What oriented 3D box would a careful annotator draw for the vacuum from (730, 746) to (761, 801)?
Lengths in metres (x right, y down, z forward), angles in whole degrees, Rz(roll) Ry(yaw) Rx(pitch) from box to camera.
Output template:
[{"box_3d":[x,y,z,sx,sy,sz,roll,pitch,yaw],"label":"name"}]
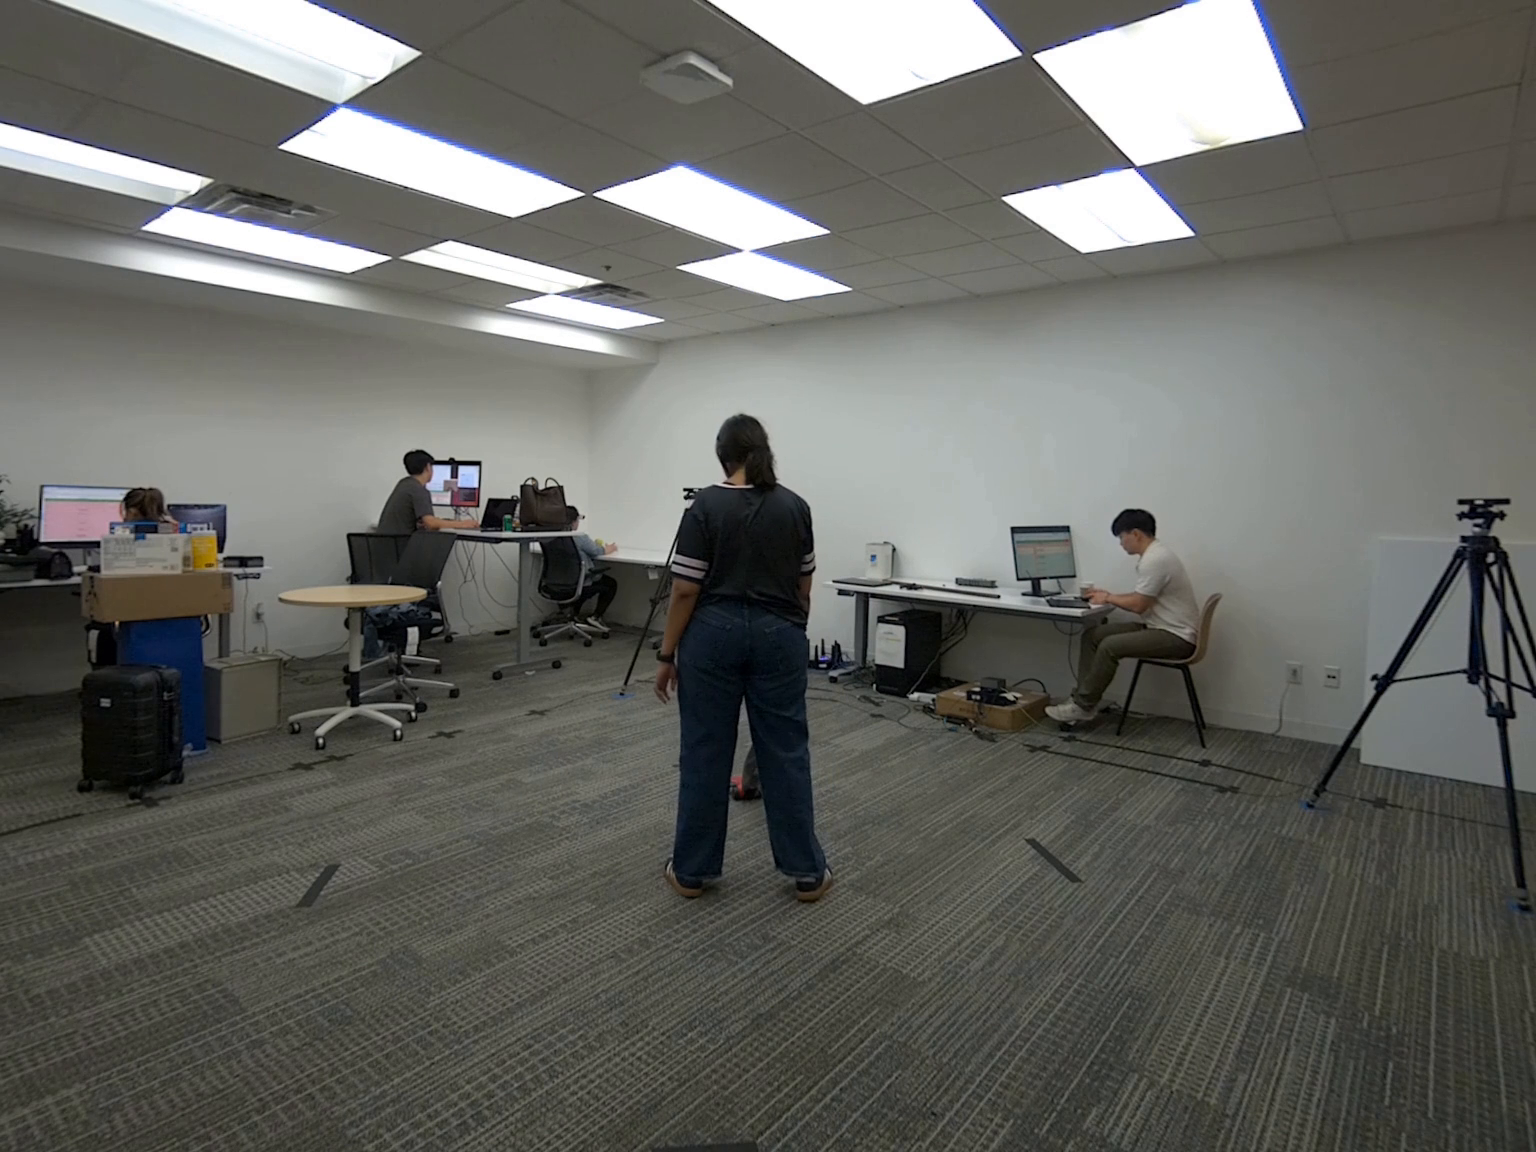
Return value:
[{"box_3d":[-0.016,0.650,3.502,0.249,0.149,1.029,-2,-37,-16],"label":"vacuum"}]
